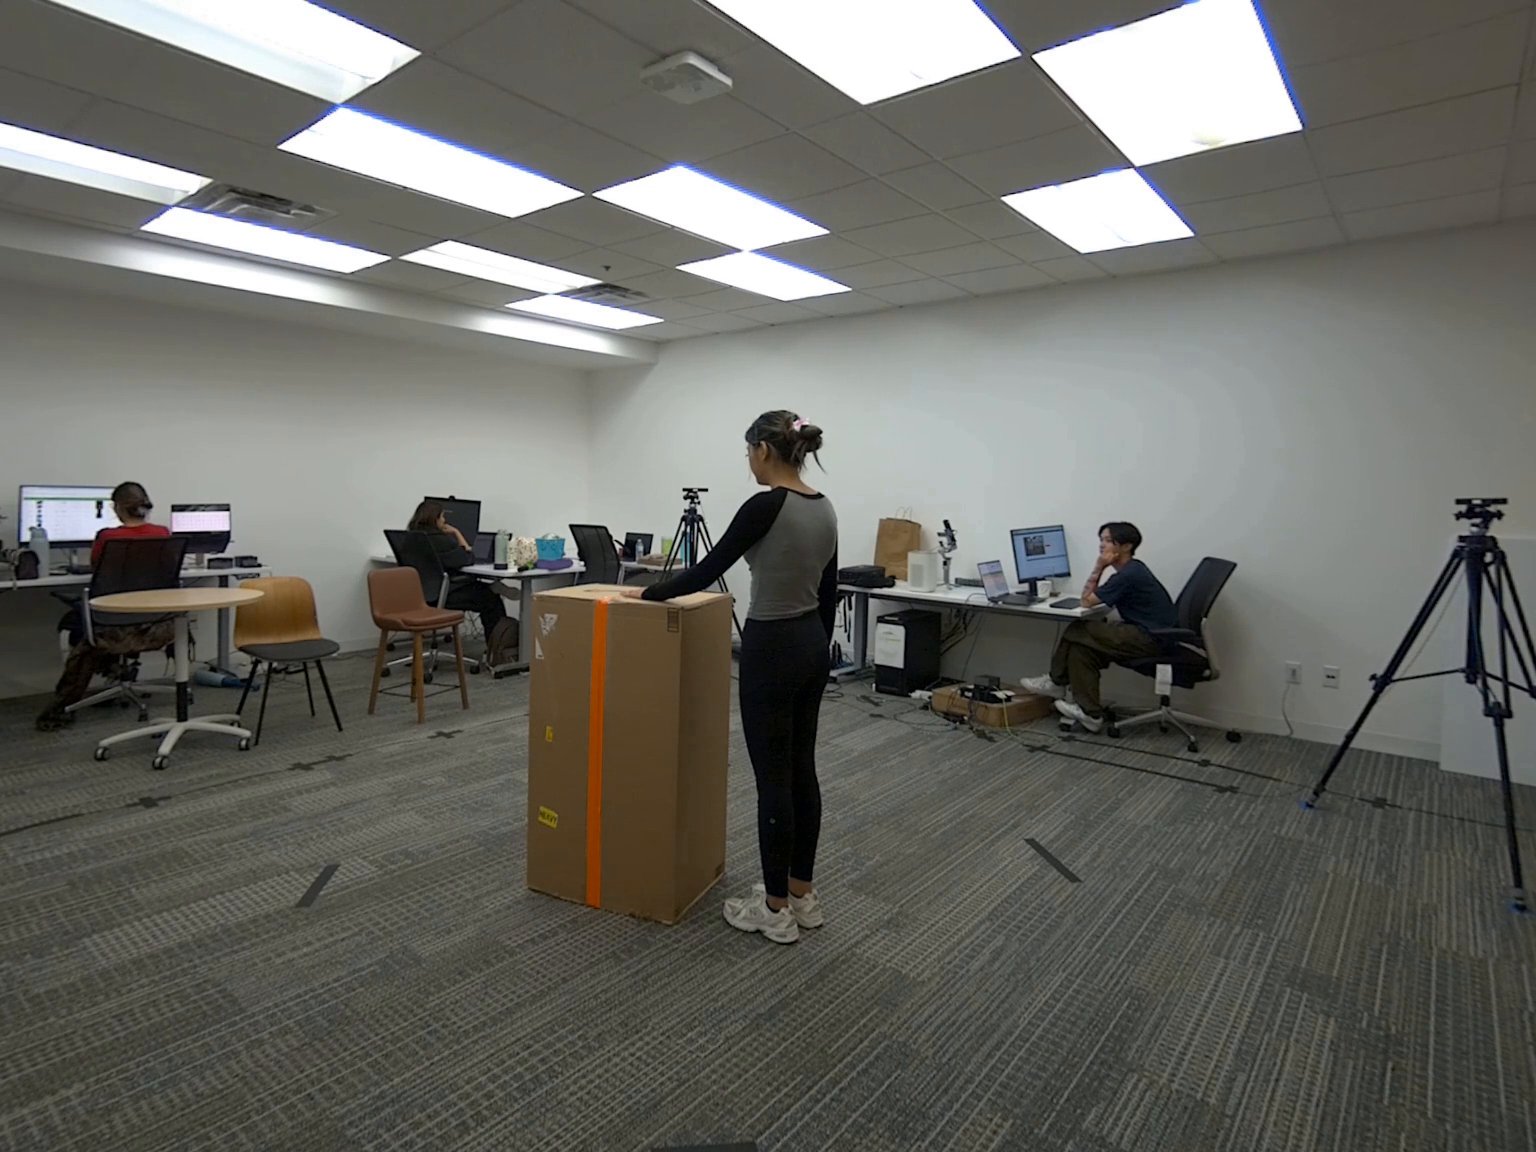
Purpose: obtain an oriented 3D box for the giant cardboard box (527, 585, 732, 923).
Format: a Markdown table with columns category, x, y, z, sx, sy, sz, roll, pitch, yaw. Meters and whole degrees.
| category | x | y | z | sx | sy | sz | roll | pitch | yaw |
| --- | --- | --- | --- | --- | --- | --- | --- | --- | --- |
| giant cardboard box | -0.494 | 0.573 | 2.978 | 0.598 | 1.025 | 0.437 | 3 | 2 | 22 |
